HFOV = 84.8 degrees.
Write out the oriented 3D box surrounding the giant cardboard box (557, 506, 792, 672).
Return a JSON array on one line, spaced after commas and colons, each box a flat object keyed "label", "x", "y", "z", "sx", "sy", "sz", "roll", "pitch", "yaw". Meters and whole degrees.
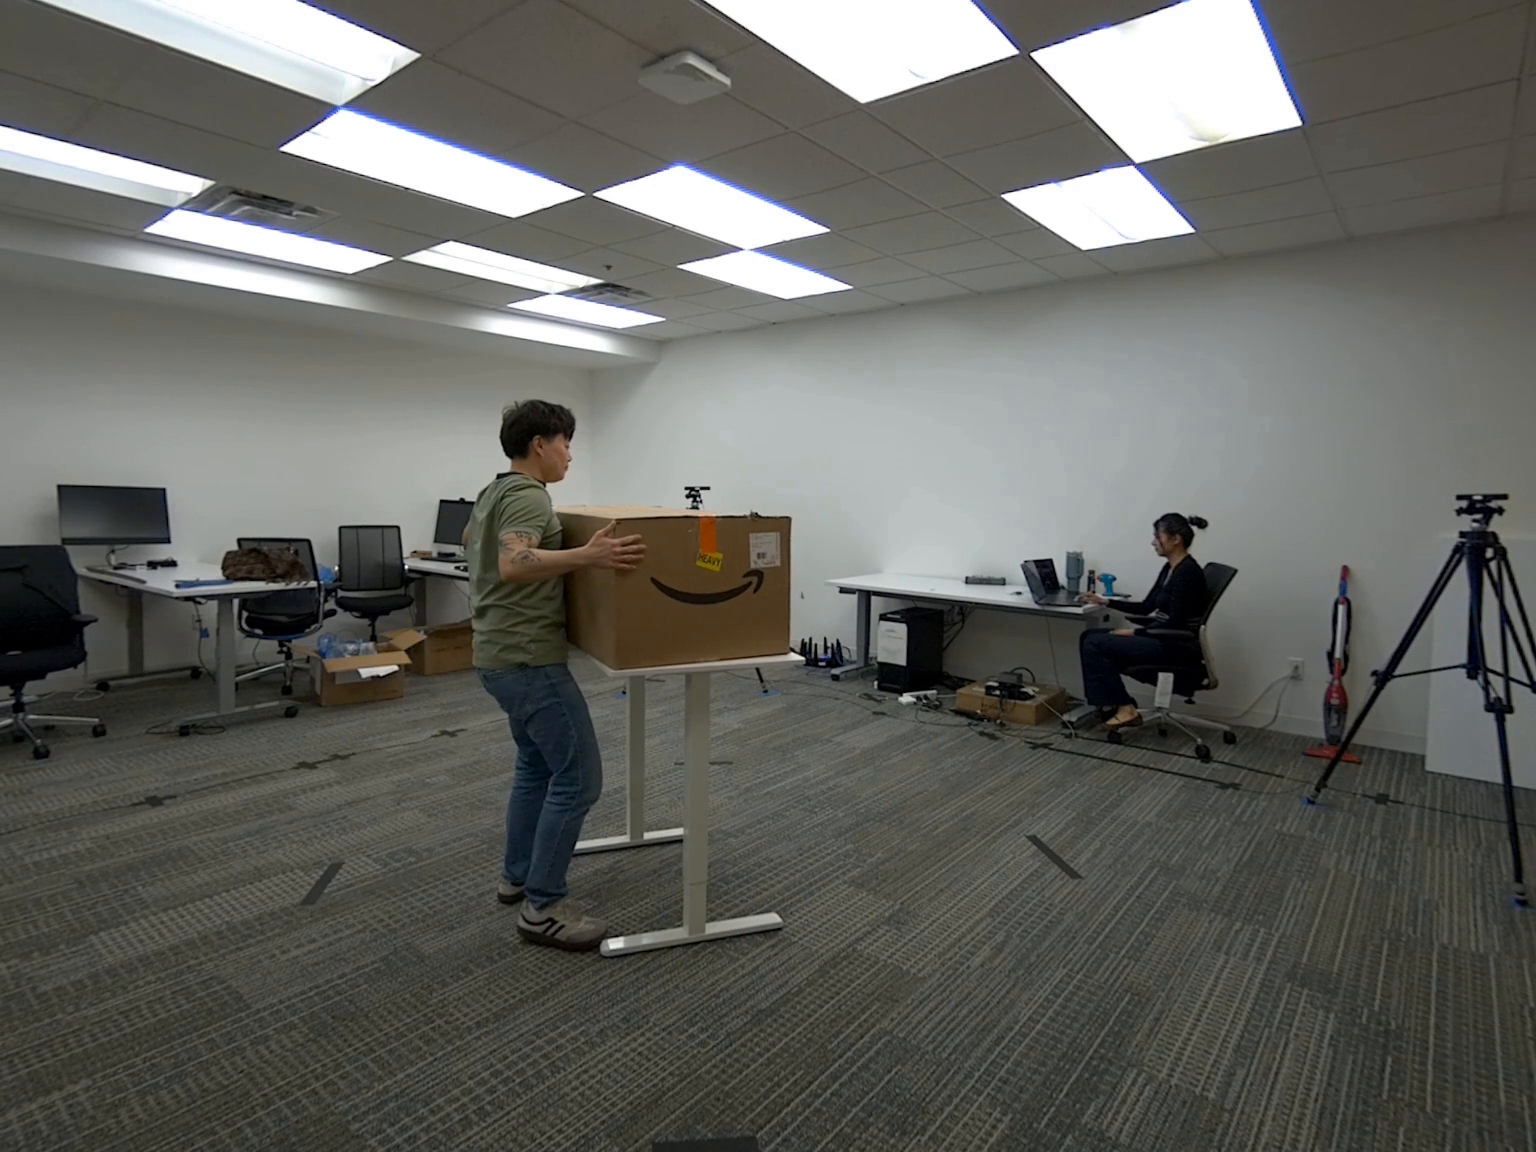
[{"label": "giant cardboard box", "x": -0.432, "y": -0.016, "z": 2.918, "sx": 0.563, "sy": 0.424, "sz": 1.057, "roll": -3, "pitch": 7, "yaw": -29}]
